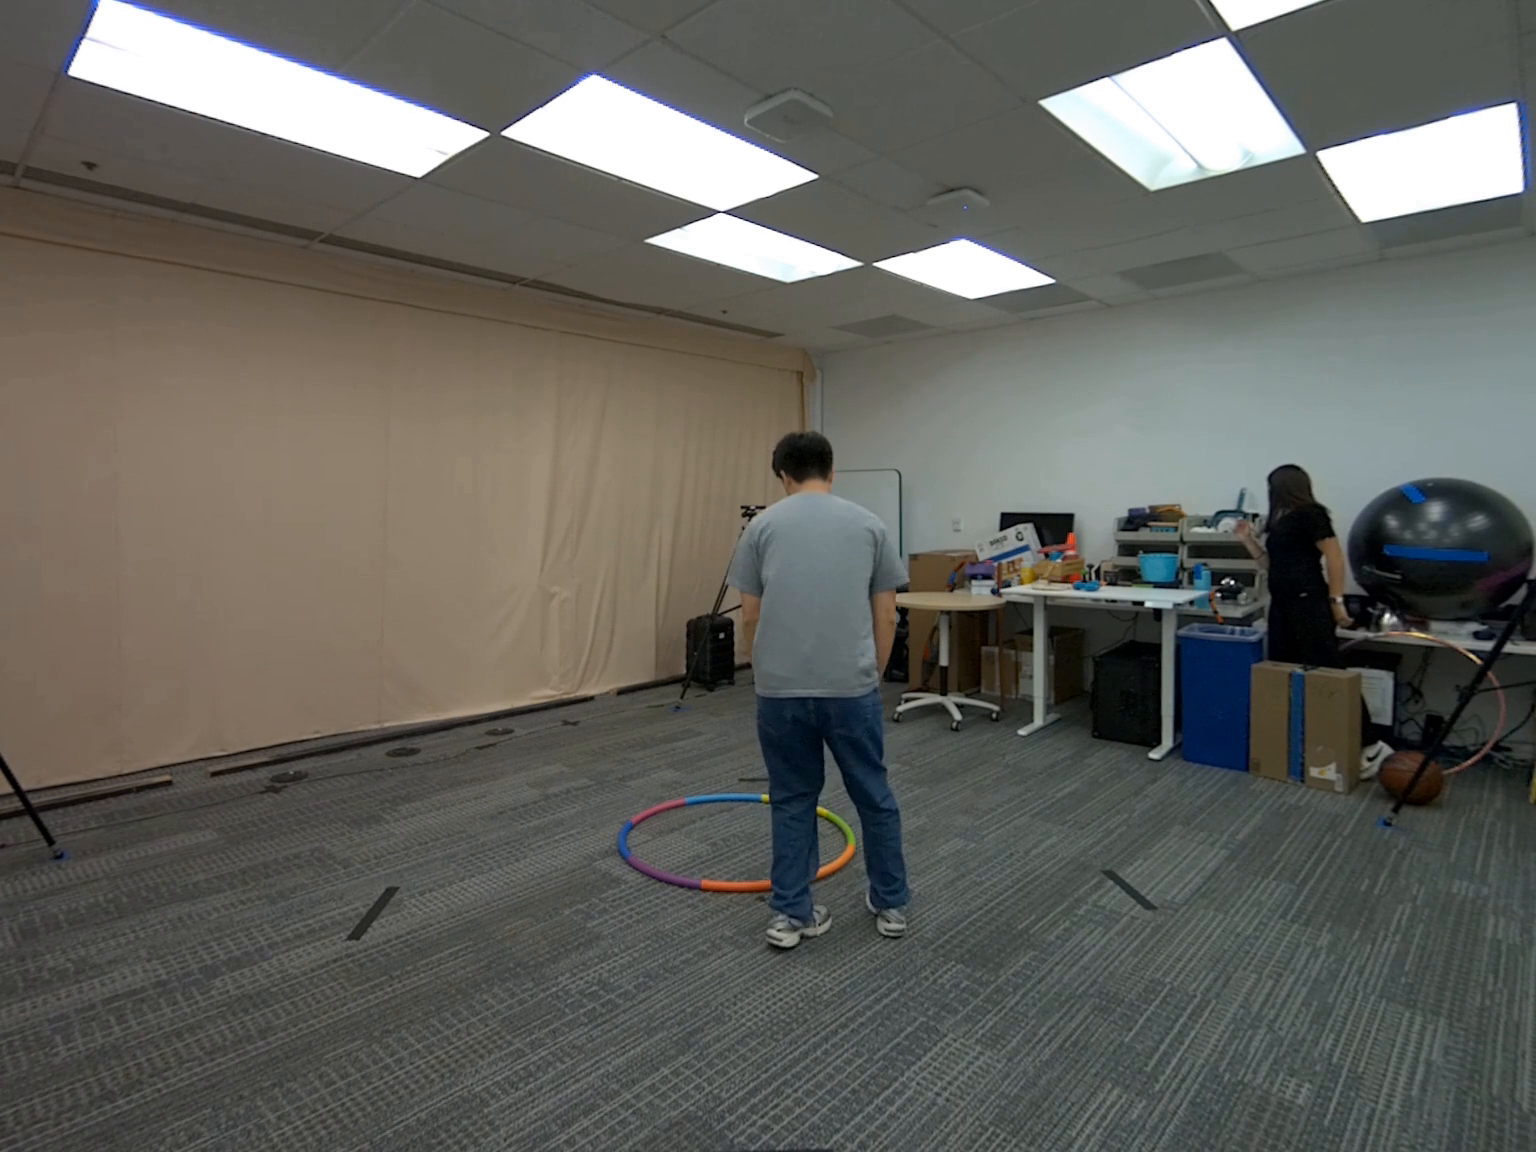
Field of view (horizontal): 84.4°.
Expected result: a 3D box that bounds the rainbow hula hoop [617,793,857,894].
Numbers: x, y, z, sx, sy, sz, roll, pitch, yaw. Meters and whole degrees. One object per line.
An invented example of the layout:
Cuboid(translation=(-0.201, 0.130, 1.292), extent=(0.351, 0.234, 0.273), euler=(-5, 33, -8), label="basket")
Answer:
Cuboid(translation=(-0.129, 1.070, 3.510), extent=(0.978, 0.035, 0.982), euler=(-1, 5, -2), label="rainbow hula hoop")
